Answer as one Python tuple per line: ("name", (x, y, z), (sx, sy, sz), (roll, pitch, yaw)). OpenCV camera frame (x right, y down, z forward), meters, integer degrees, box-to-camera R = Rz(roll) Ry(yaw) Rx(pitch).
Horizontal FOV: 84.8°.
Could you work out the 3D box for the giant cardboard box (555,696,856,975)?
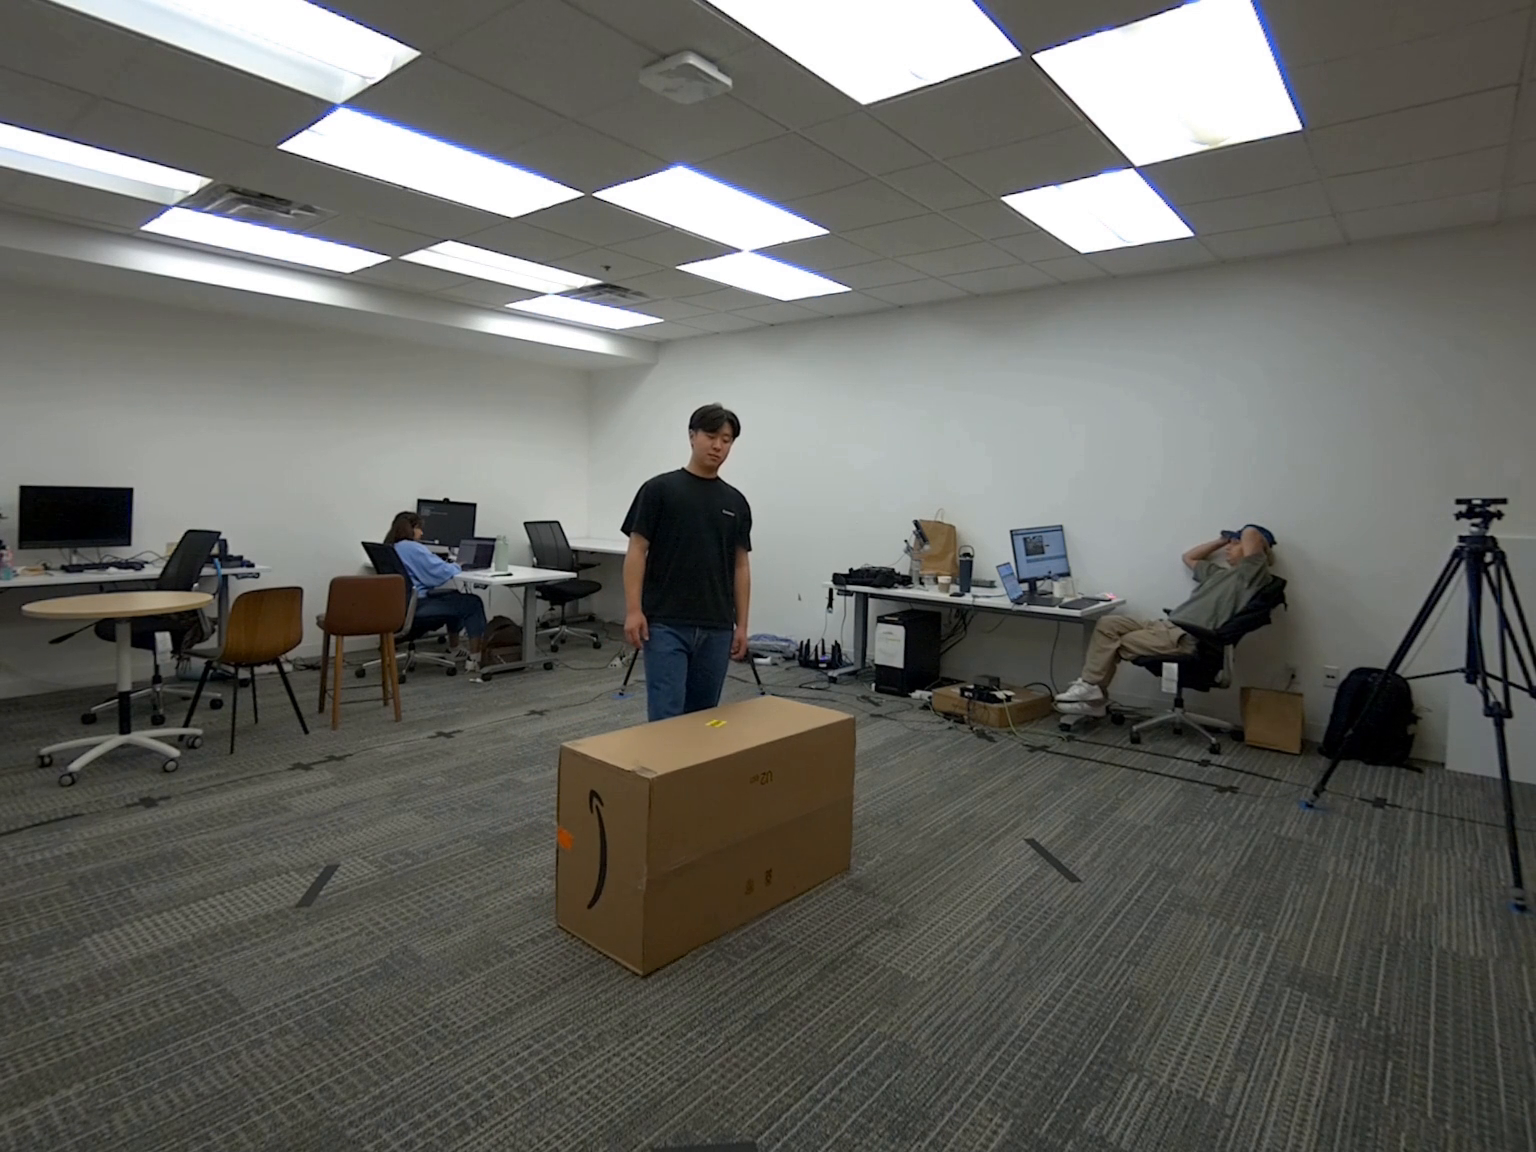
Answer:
("giant cardboard box", (-0.183, 0.806, 2.901), (0.462, 0.582, 0.996), (3, 5, 42))
